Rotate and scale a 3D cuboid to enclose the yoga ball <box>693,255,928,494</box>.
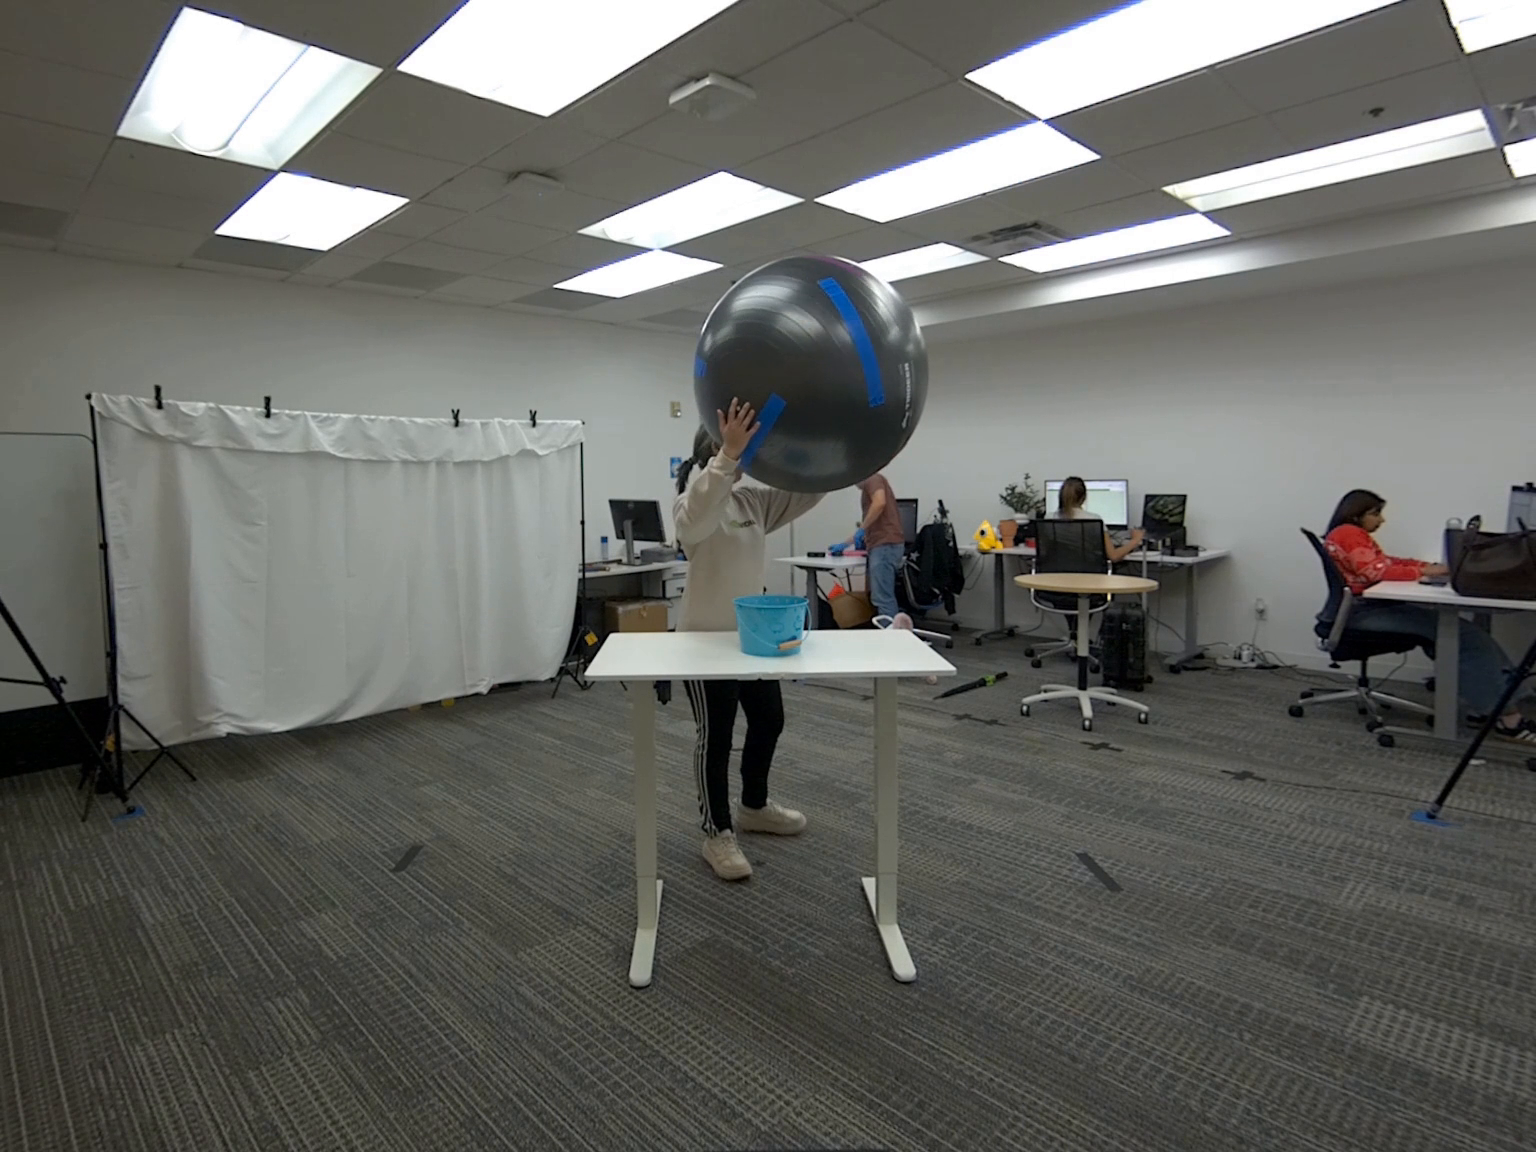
[{"bbox_3d":[0.140,-0.645,2.783,0.757,0.755,0.762,-1,5,-2],"label":"yoga ball"}]
